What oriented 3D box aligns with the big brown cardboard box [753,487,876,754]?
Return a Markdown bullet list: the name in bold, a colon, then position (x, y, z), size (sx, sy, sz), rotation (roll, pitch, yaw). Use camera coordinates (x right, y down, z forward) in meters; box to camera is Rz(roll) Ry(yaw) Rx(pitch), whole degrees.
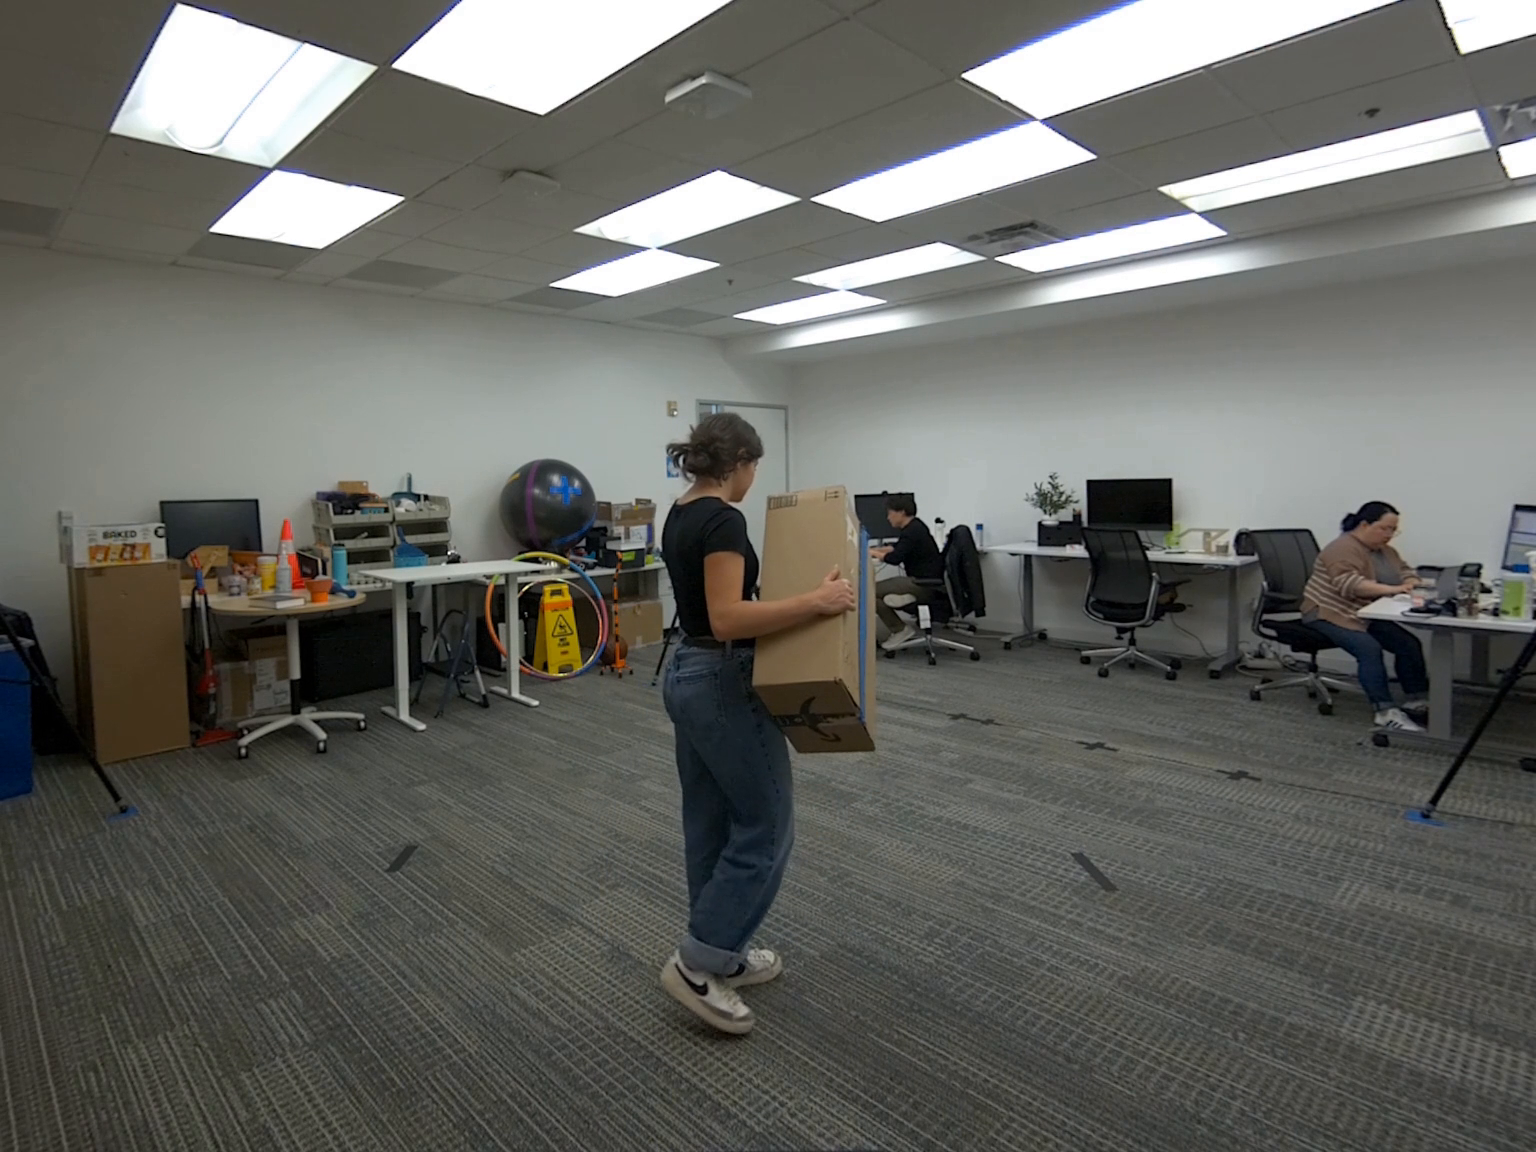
- **big brown cardboard box**: position (0.149, 0.118, 2.280), size (0.237, 0.602, 0.402), rotation (-6, -35, 17)
